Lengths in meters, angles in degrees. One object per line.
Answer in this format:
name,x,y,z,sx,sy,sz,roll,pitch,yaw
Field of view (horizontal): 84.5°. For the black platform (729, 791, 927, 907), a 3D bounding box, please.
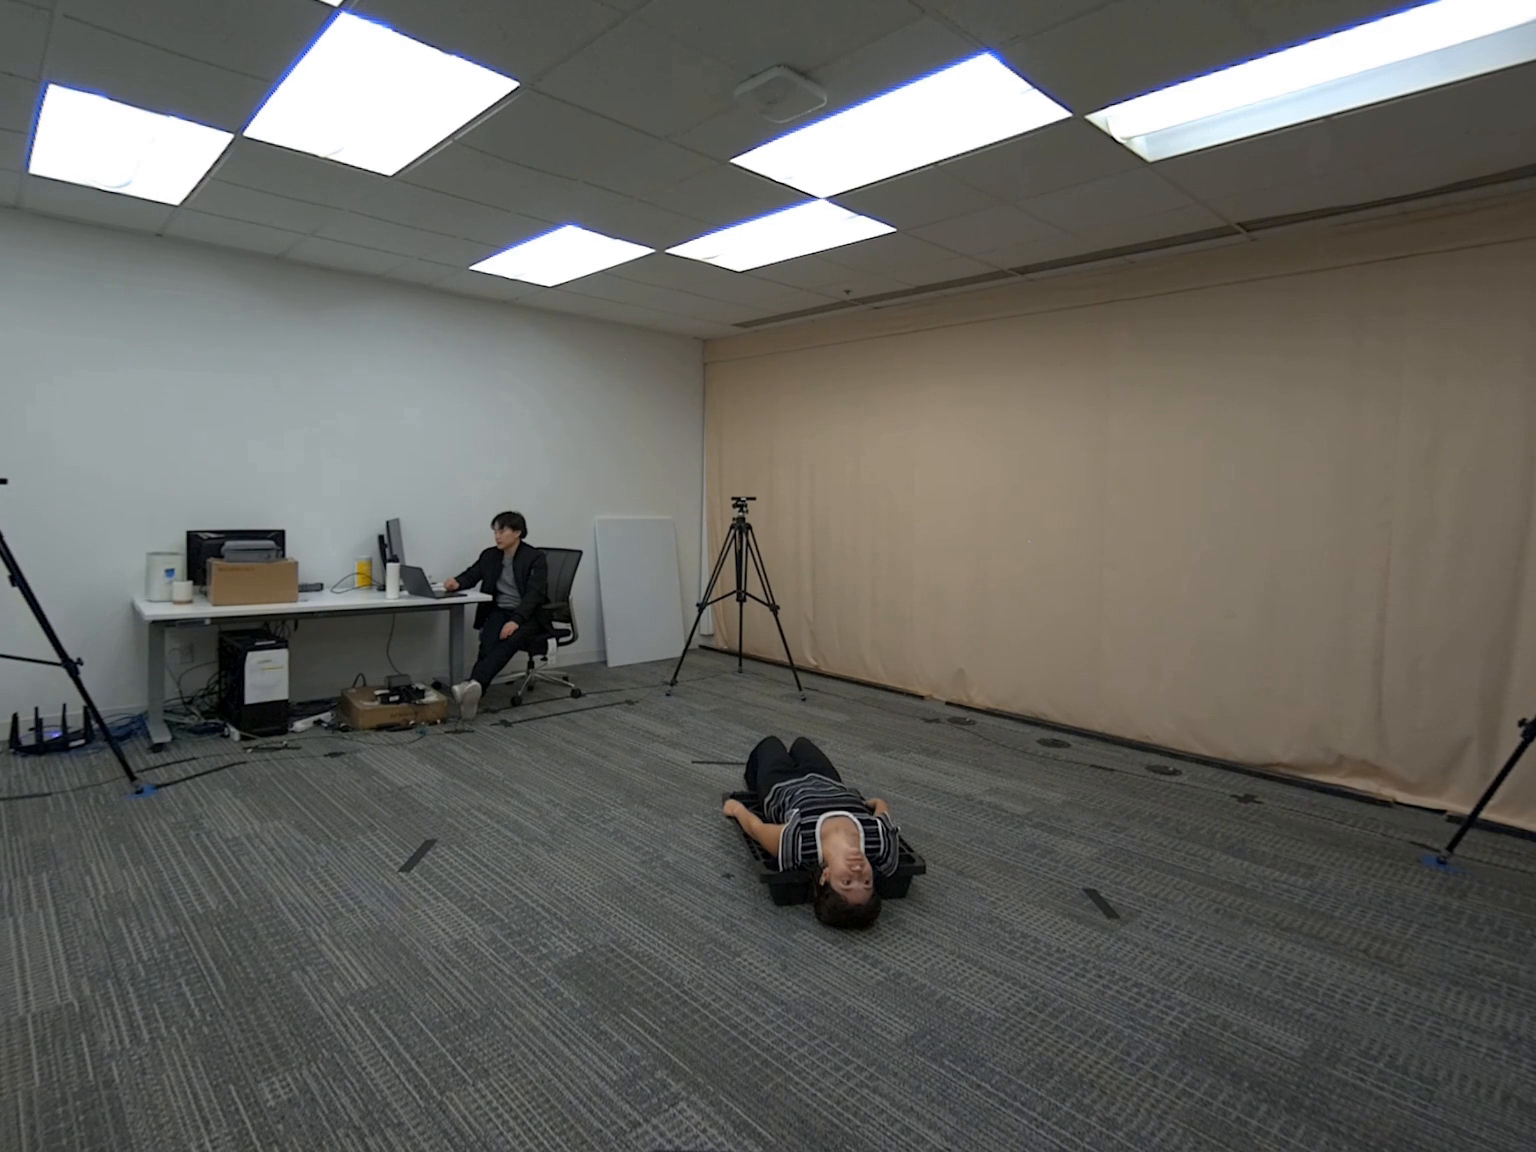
black platform,0.176,1.033,3.284,0.600,0.143,0.815,-1,5,-12
